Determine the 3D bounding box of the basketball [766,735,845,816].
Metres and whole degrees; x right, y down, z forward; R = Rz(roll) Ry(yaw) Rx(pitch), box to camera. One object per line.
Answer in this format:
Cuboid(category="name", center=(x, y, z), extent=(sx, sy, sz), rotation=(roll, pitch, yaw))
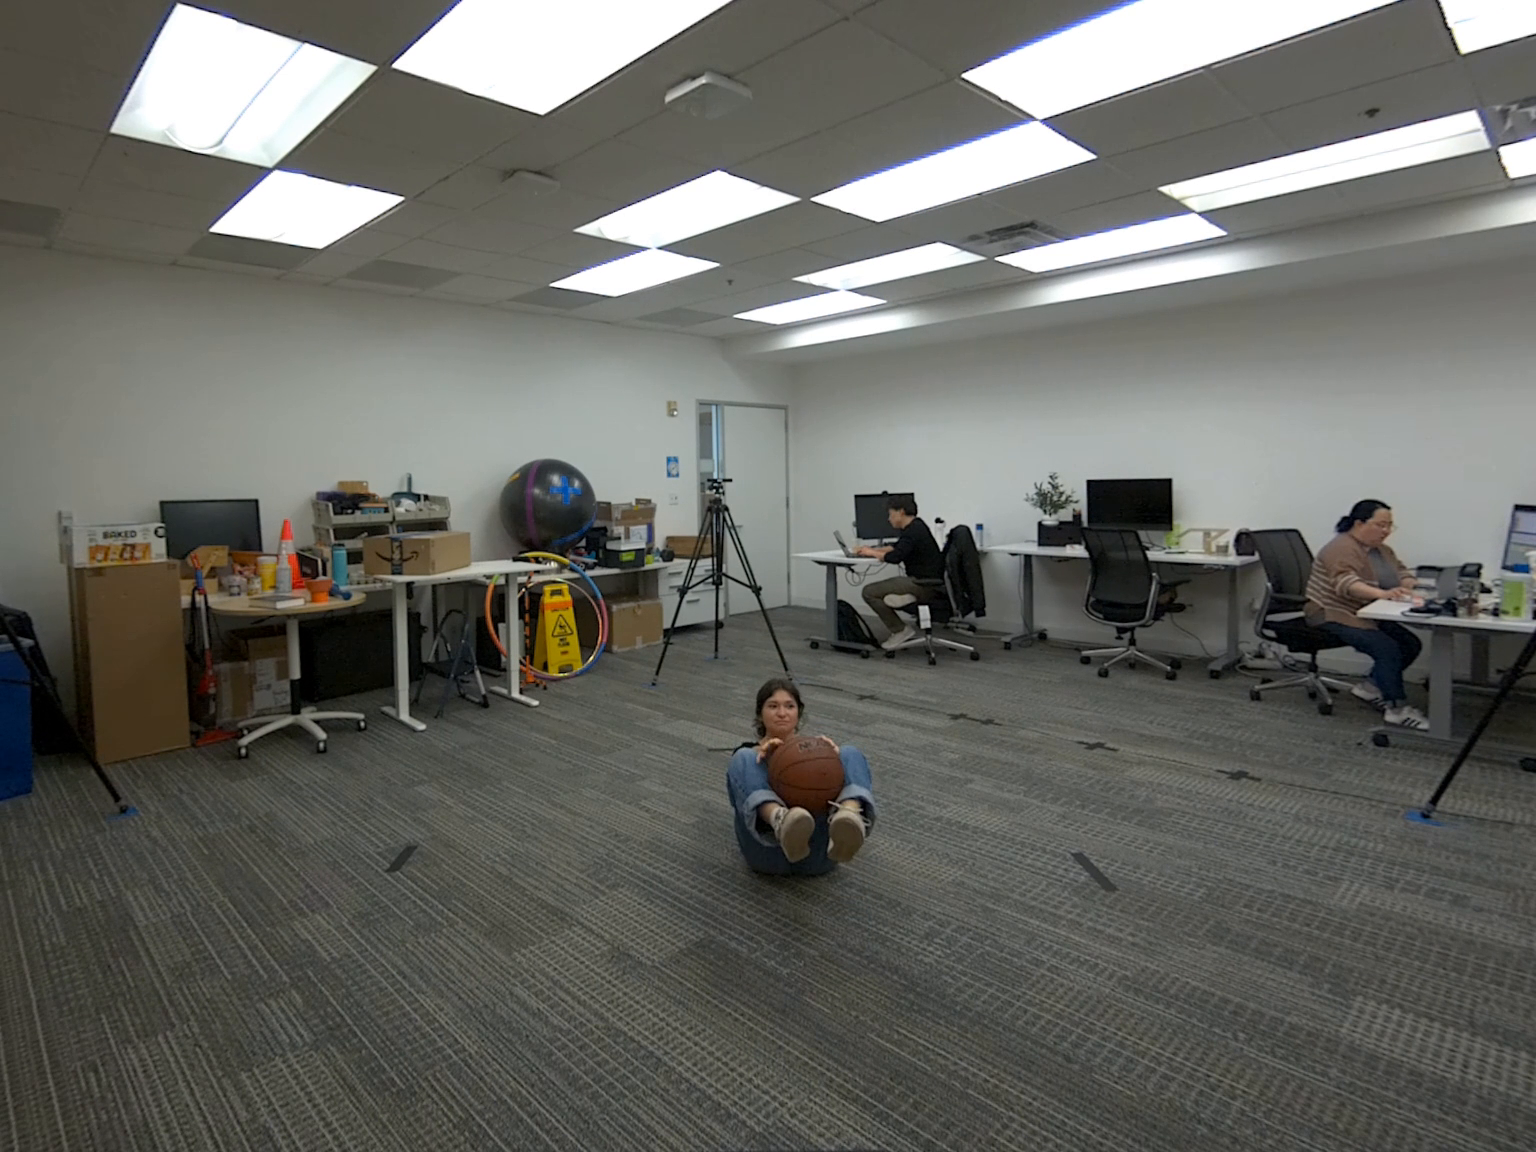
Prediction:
Cuboid(category="basketball", center=(0.116, 0.620, 2.678), extent=(0.236, 0.235, 0.237), rotation=(-1, 5, -2))
